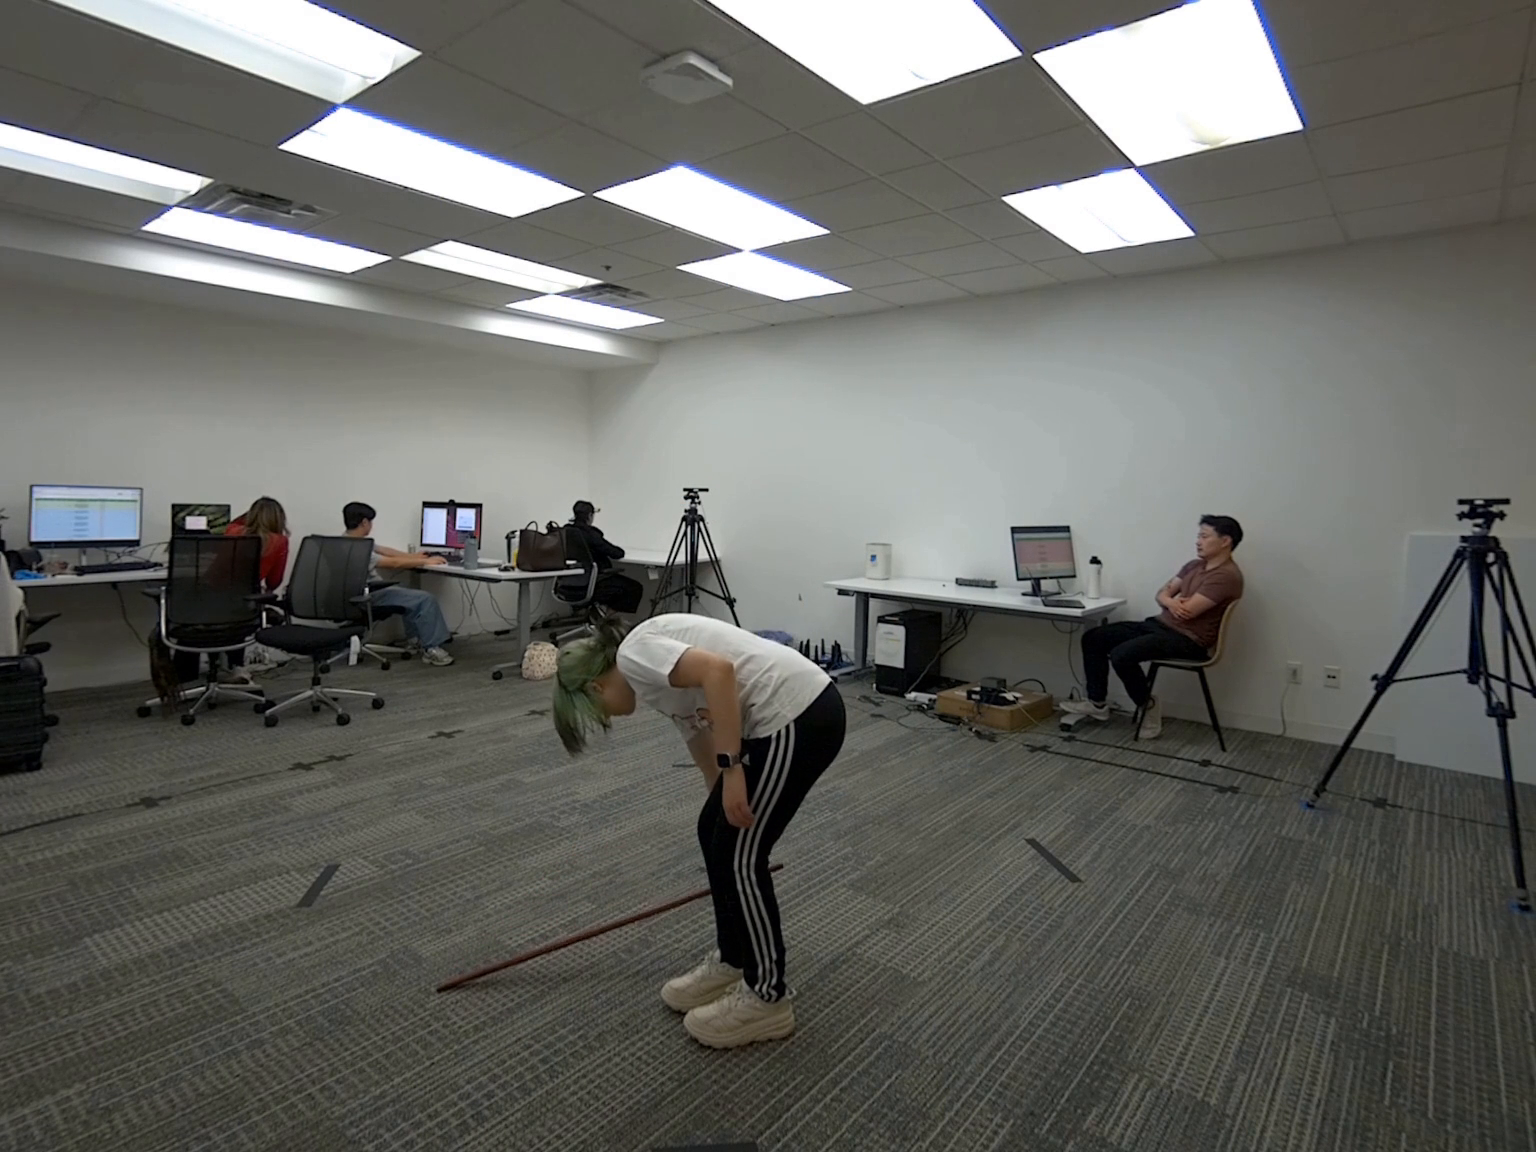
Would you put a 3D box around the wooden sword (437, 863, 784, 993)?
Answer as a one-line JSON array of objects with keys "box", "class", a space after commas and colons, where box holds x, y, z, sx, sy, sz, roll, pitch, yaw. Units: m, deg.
[{"box": [-0.453, 1.025, 2.477, 1.011, 0.024, 0.052, -14, 0, -16], "class": "wooden sword"}]
